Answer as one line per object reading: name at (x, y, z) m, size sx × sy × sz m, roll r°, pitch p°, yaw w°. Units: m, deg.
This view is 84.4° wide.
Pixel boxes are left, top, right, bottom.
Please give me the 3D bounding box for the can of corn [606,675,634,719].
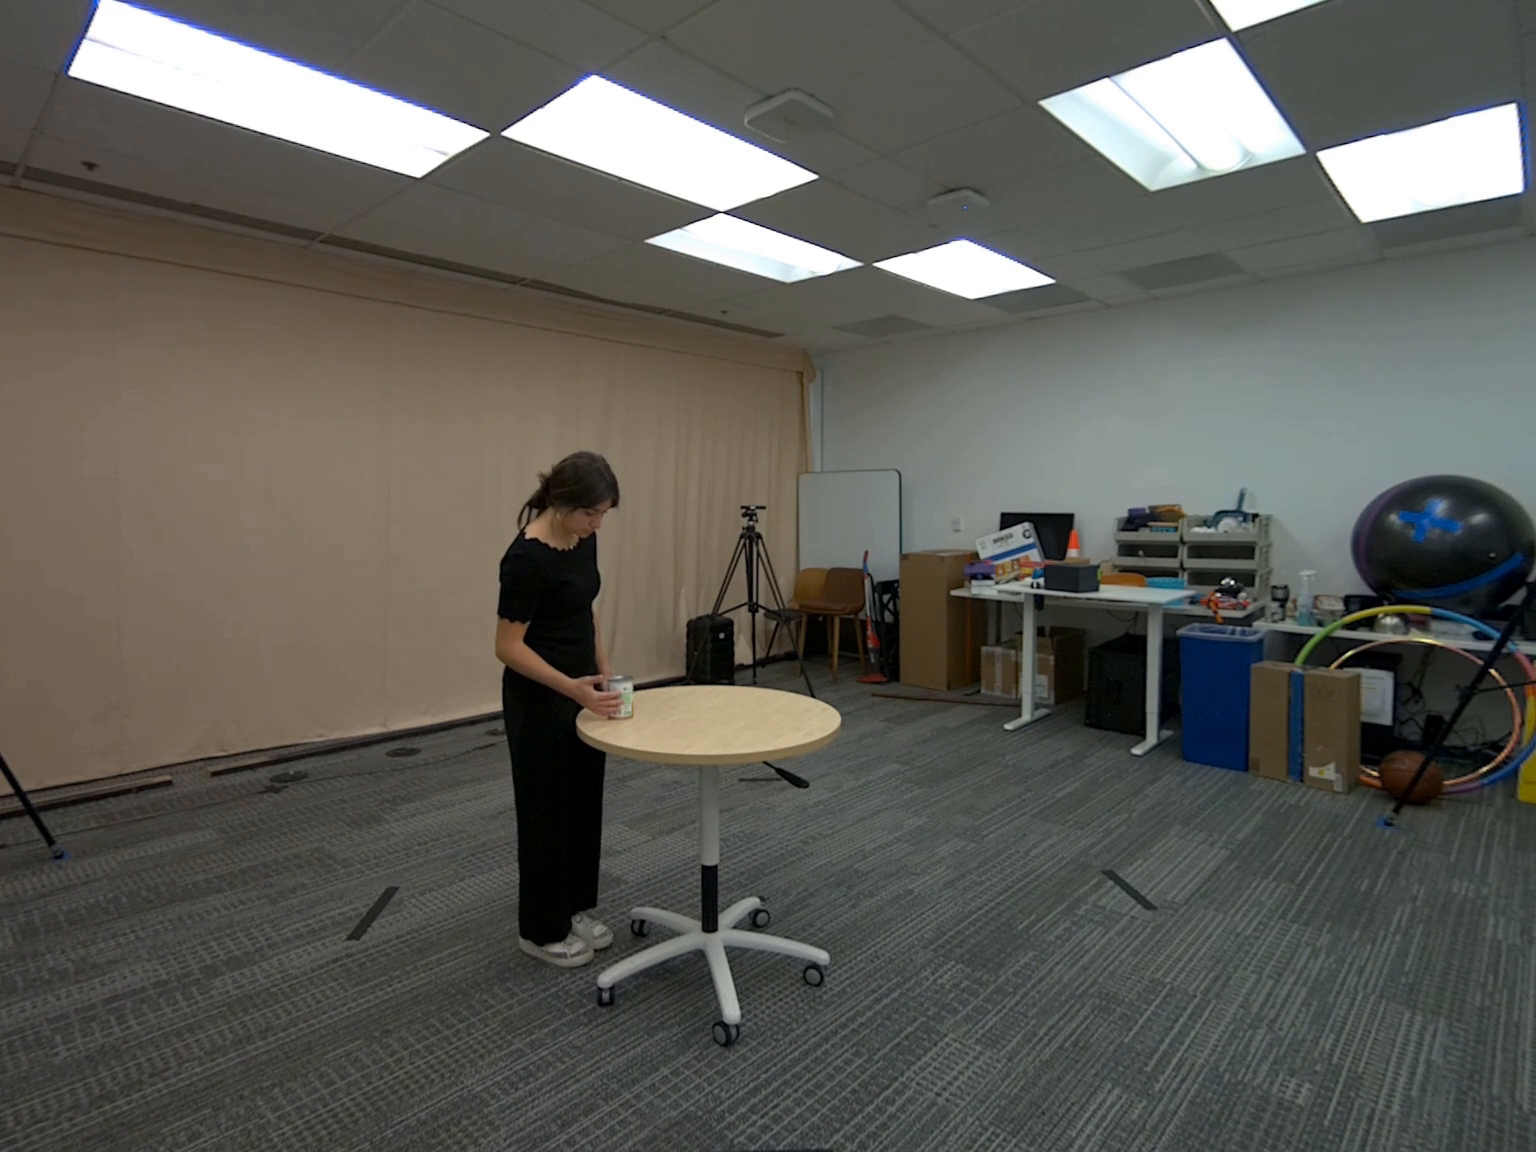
can of corn at (-0.429, 0.354, 2.404) m, size 0.074 × 0.111 × 0.074 m, roll -1°, pitch 3°, yaw -2°
